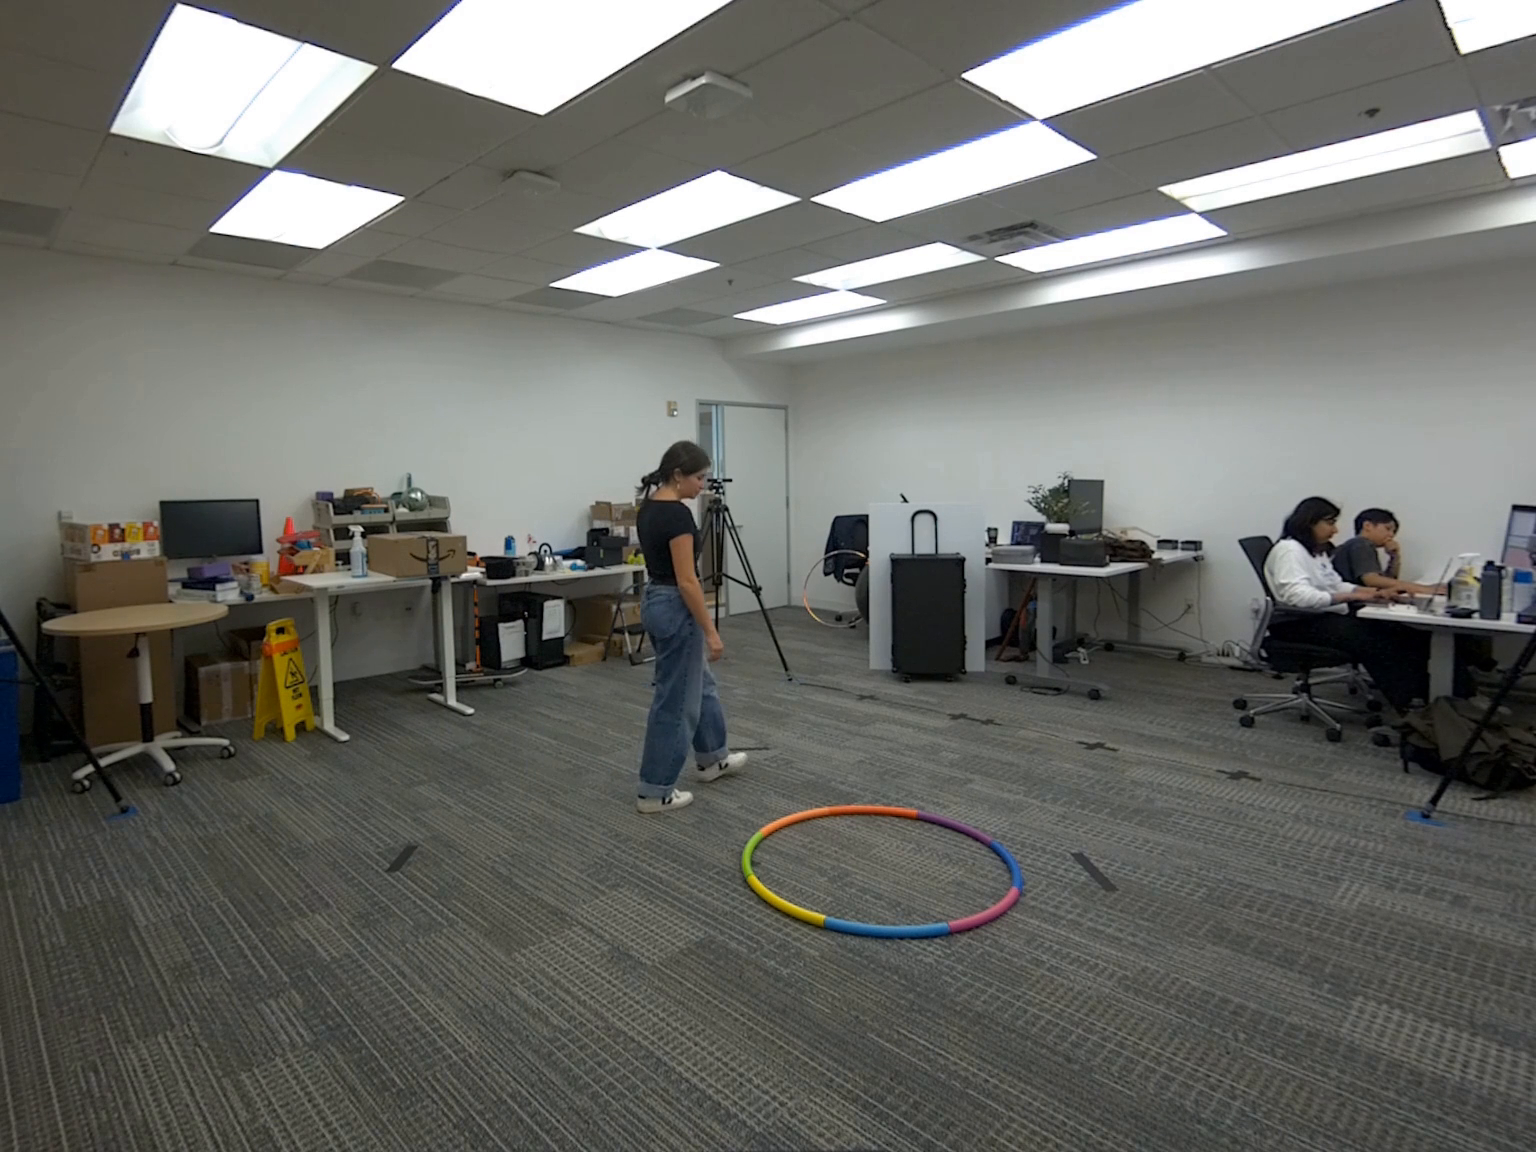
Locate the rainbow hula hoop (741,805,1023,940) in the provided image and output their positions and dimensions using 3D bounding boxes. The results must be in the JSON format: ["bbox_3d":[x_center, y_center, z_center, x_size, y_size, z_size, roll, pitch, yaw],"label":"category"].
[{"bbox_3d":[0.388,1.011,3.075,0.978,0.035,0.984,-1,6,-2],"label":"rainbow hula hoop"}]
